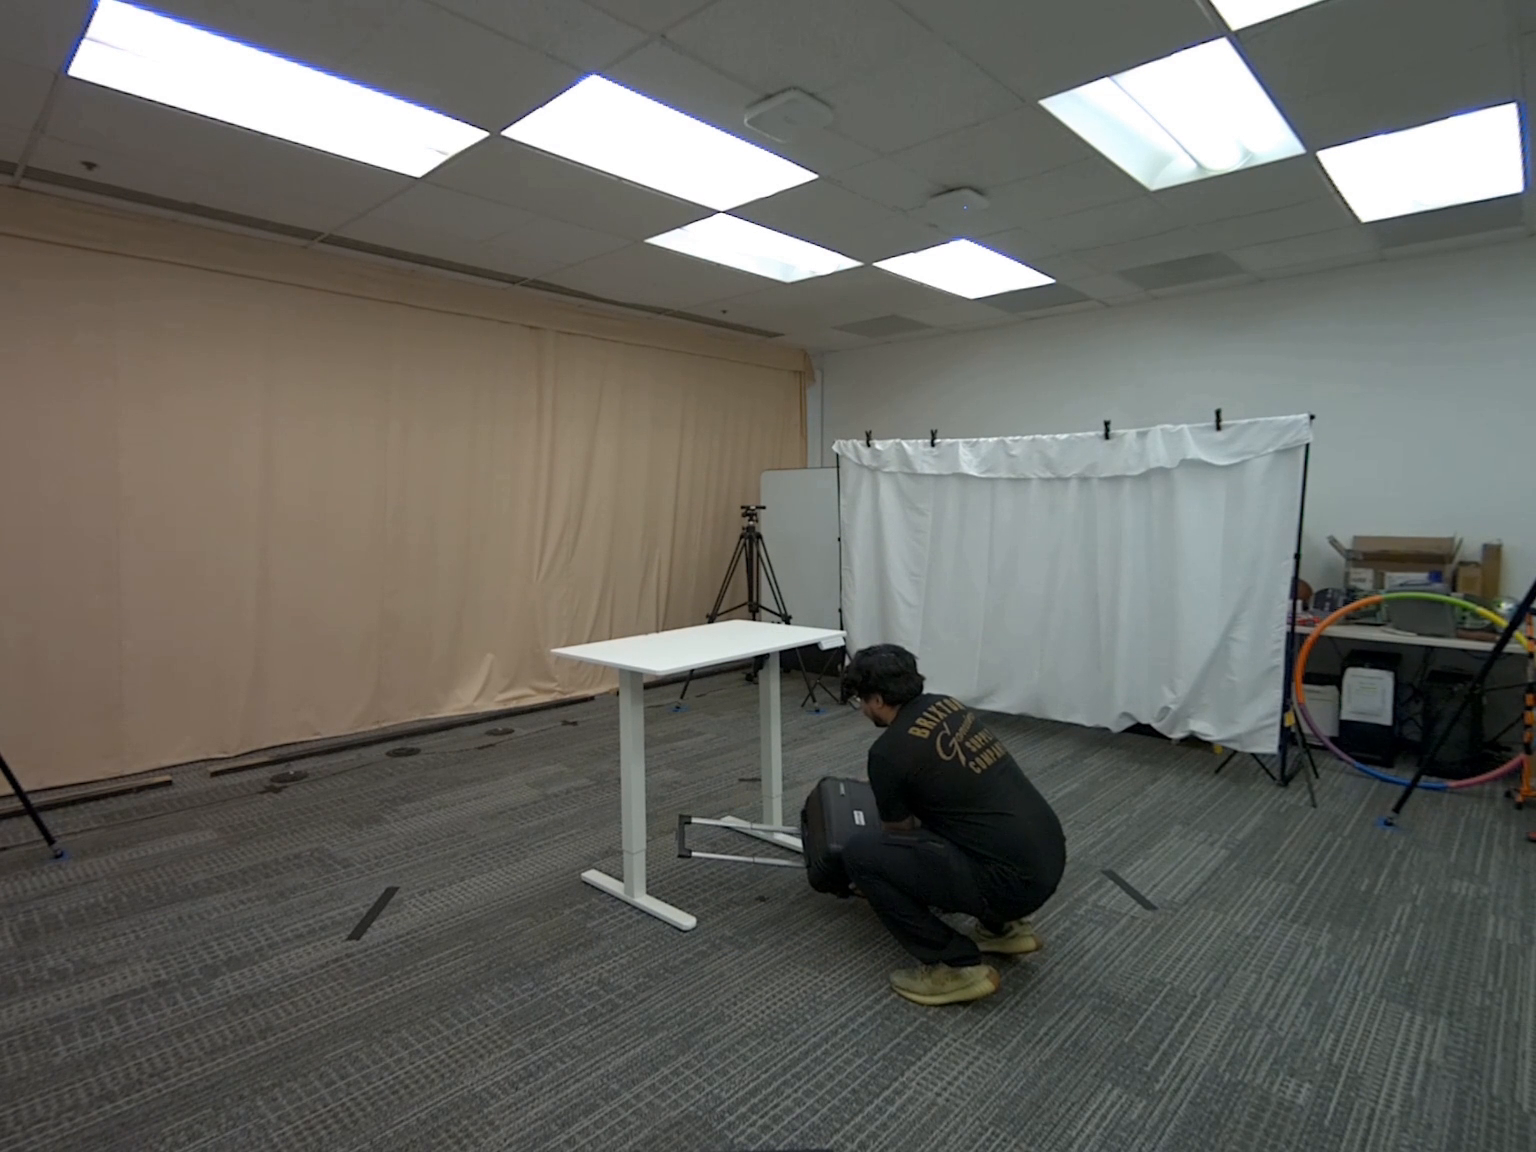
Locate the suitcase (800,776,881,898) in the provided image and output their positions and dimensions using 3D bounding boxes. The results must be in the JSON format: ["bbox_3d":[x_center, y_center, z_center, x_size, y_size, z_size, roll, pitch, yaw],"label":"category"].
[{"bbox_3d":[0.210,0.892,2.895,0.967,0.255,0.392,10,38,-10],"label":"suitcase"}]
